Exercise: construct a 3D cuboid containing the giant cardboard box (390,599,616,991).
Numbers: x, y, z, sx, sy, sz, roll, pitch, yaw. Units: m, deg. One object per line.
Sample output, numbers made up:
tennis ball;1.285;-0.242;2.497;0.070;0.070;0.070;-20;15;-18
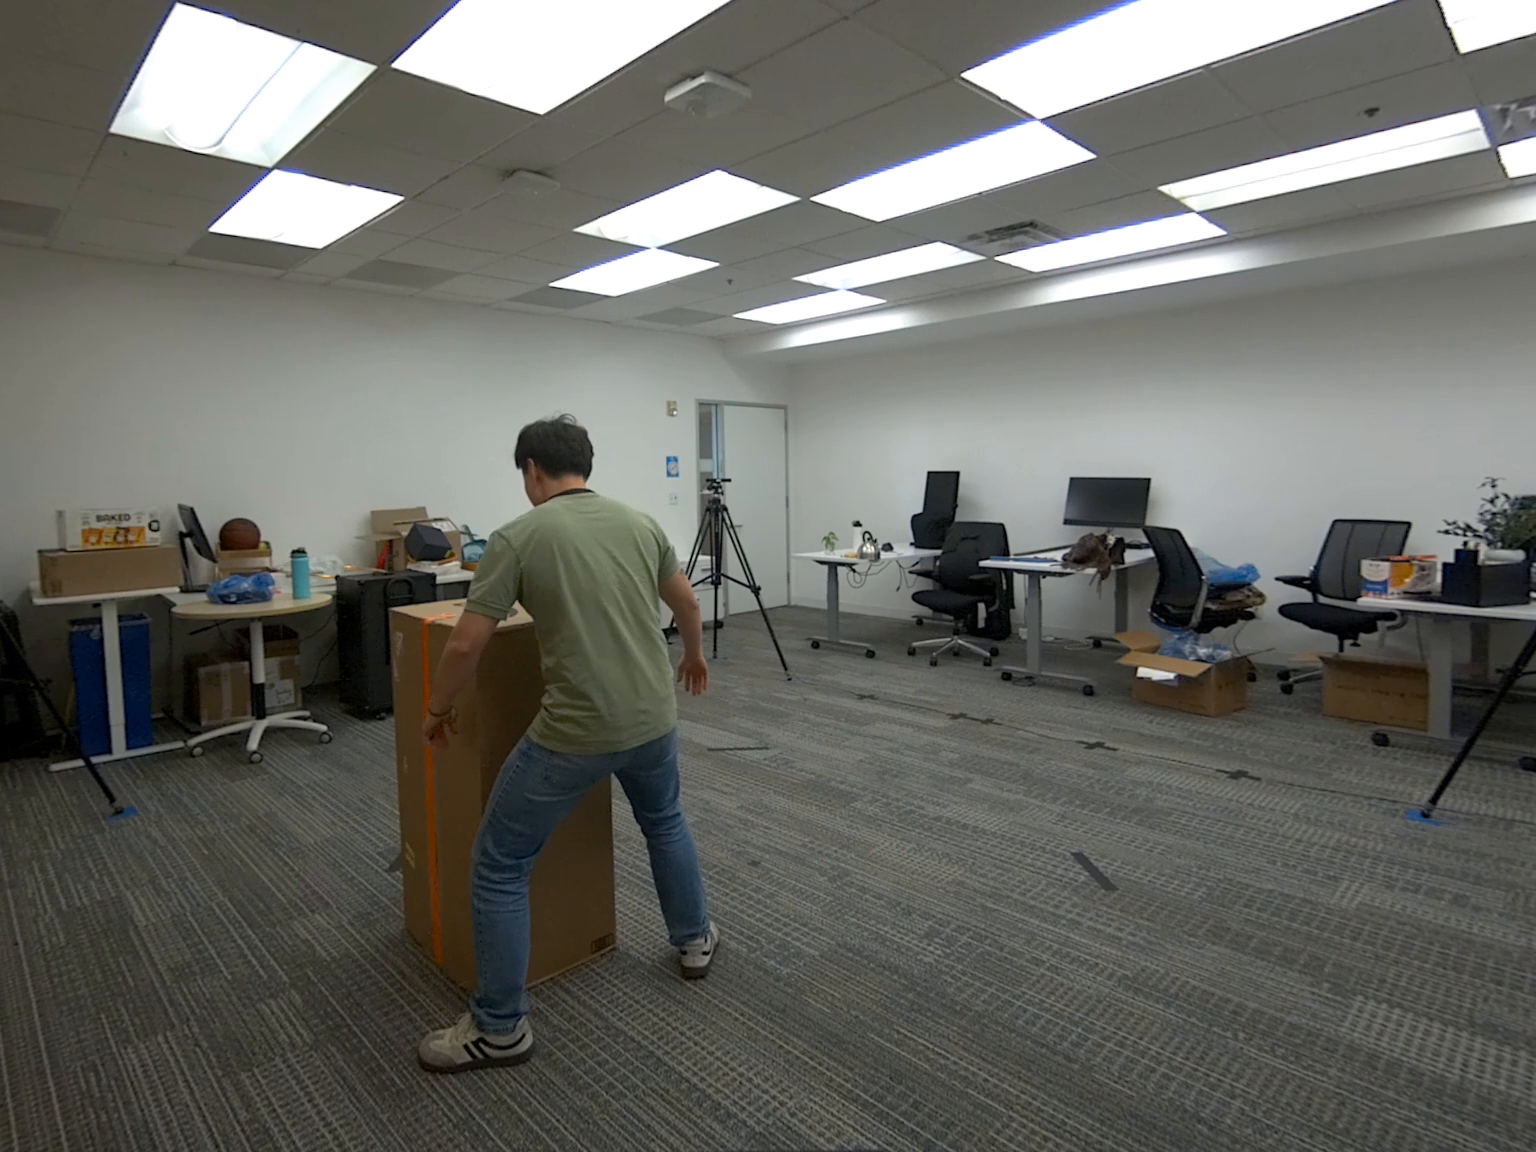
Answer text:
giant cardboard box;-0.809;0.605;2.593;0.415;1.022;0.595;-5;6;-43
